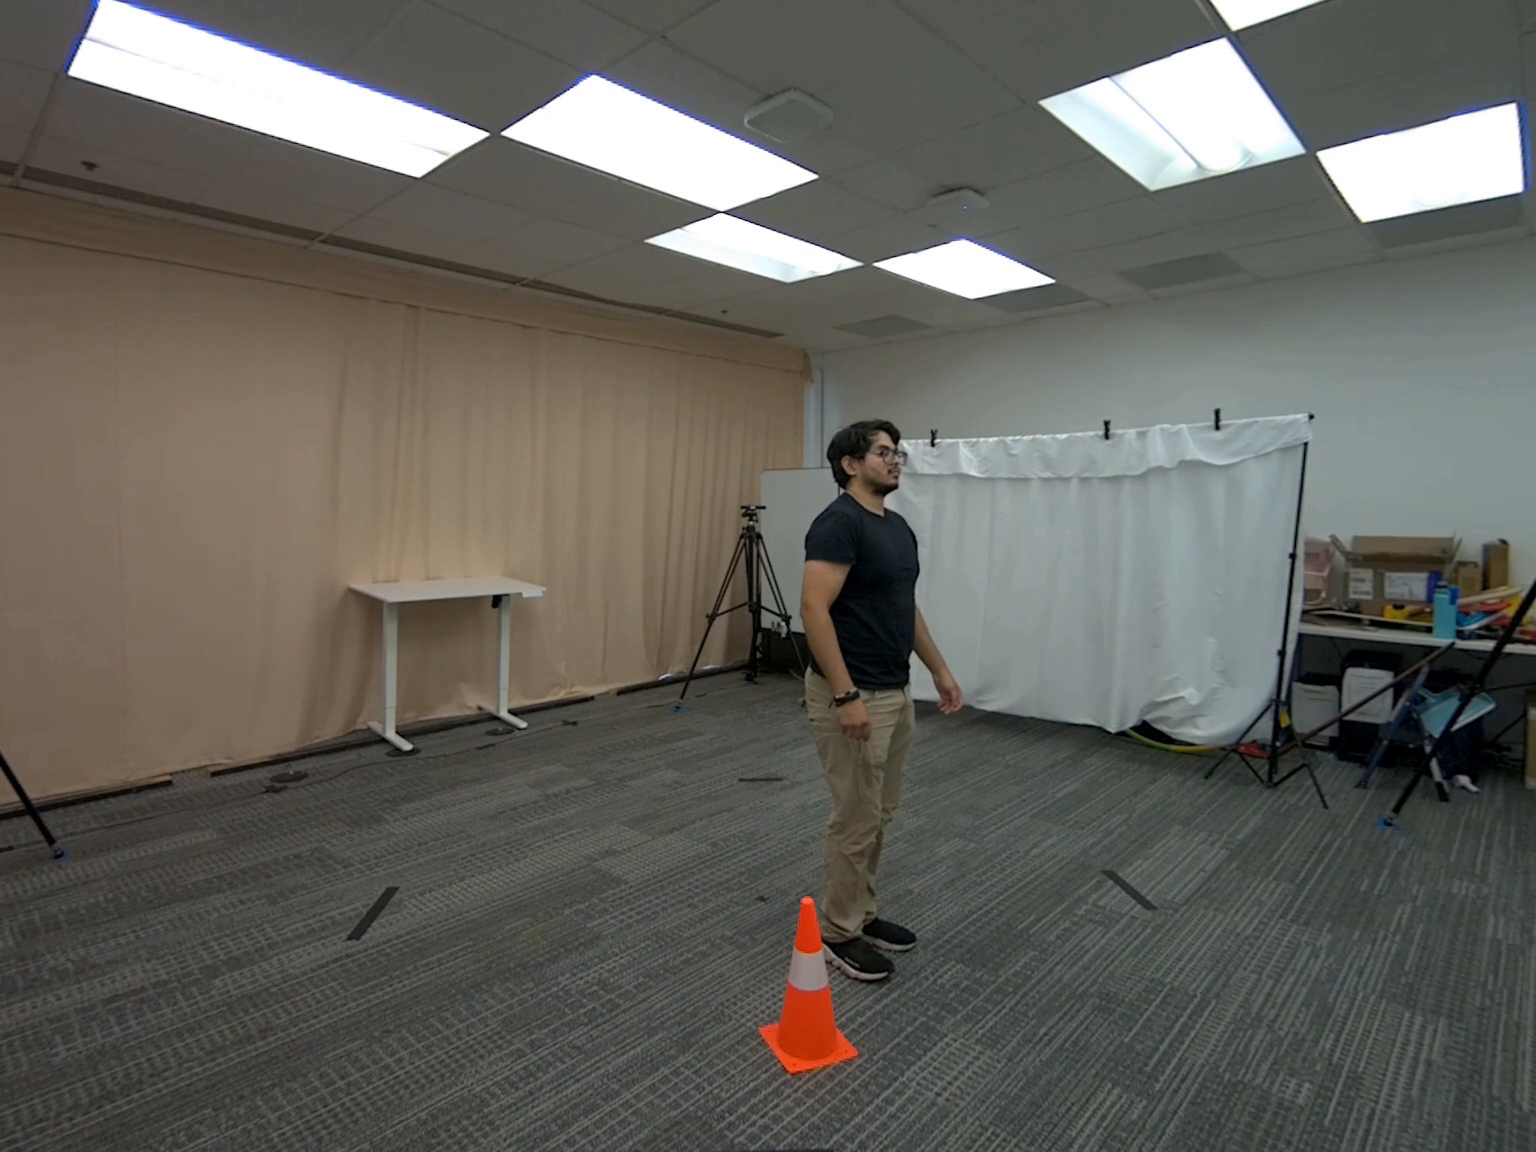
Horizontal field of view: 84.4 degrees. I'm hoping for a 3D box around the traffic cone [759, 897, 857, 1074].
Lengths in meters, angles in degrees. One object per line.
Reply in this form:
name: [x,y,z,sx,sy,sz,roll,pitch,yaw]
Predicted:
traffic cone: [0.105,1.031,2.167,0.201,0.383,0.208,-2,4,-22]
